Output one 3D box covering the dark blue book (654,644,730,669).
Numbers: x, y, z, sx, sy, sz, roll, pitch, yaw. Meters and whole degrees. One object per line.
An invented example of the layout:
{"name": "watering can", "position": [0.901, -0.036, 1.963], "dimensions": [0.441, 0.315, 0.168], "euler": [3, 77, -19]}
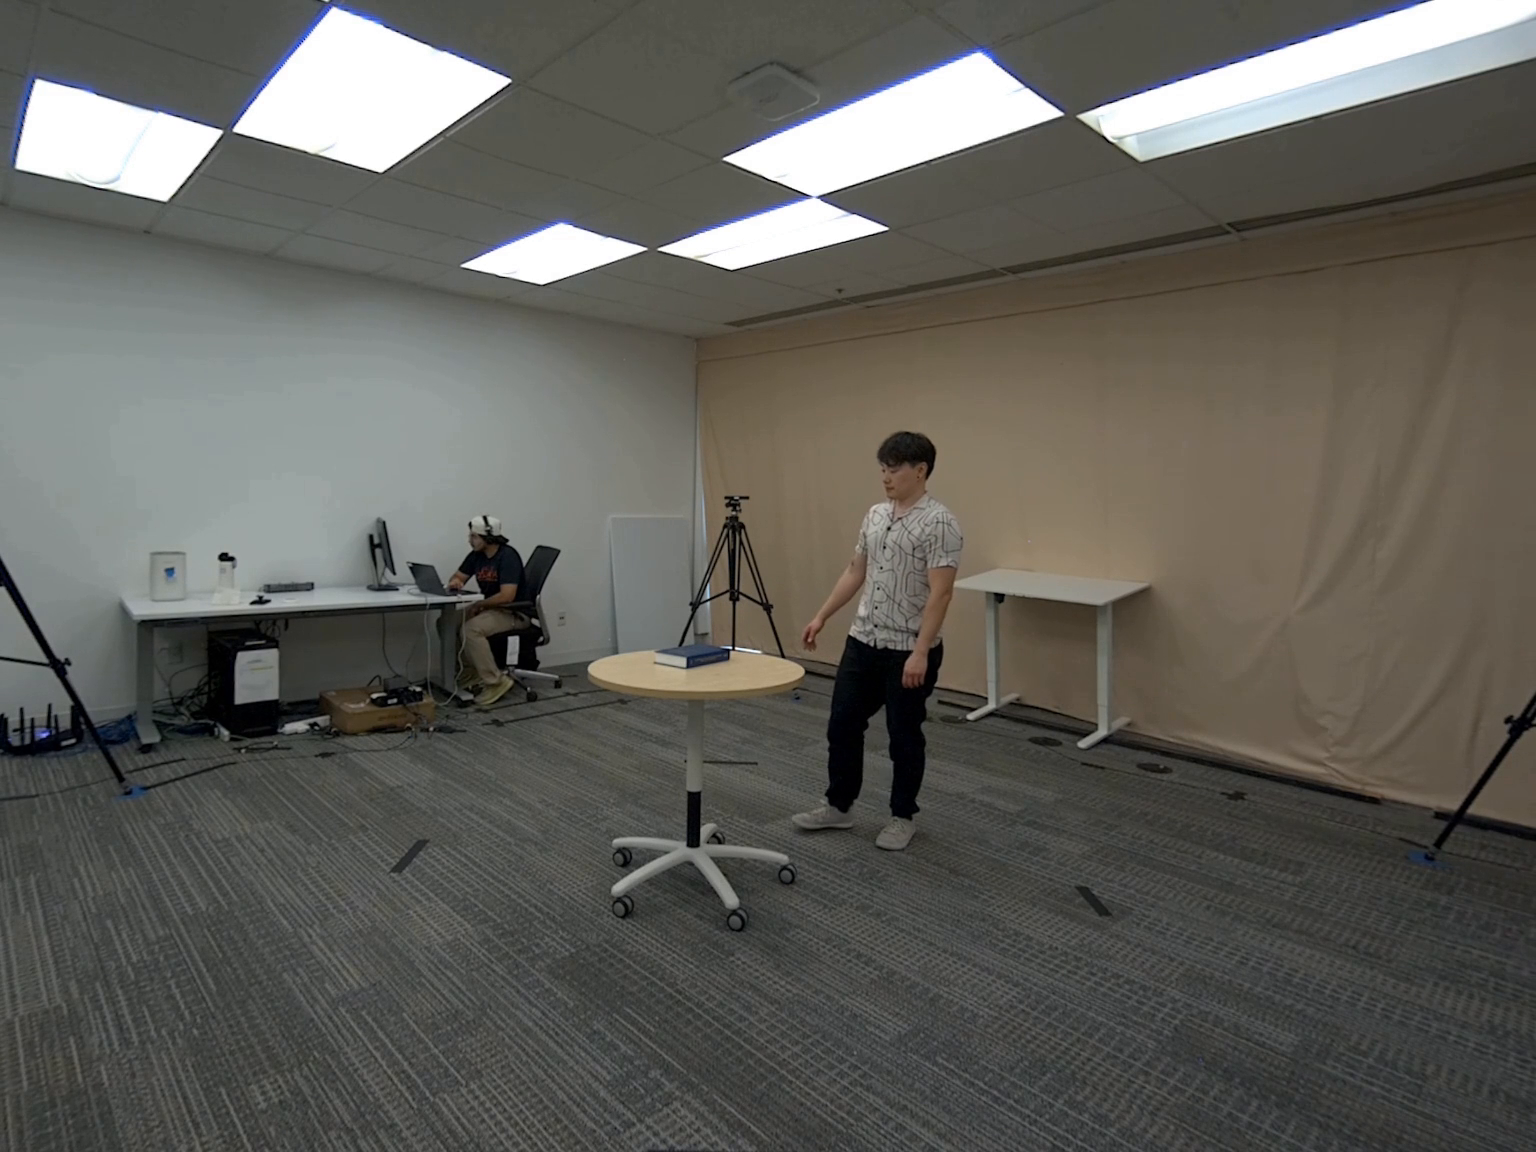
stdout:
{"name": "dark blue book", "position": [-0.291, 0.293, 3.107], "dimensions": [0.167, 0.045, 0.240], "euler": [5, 6, 37]}
